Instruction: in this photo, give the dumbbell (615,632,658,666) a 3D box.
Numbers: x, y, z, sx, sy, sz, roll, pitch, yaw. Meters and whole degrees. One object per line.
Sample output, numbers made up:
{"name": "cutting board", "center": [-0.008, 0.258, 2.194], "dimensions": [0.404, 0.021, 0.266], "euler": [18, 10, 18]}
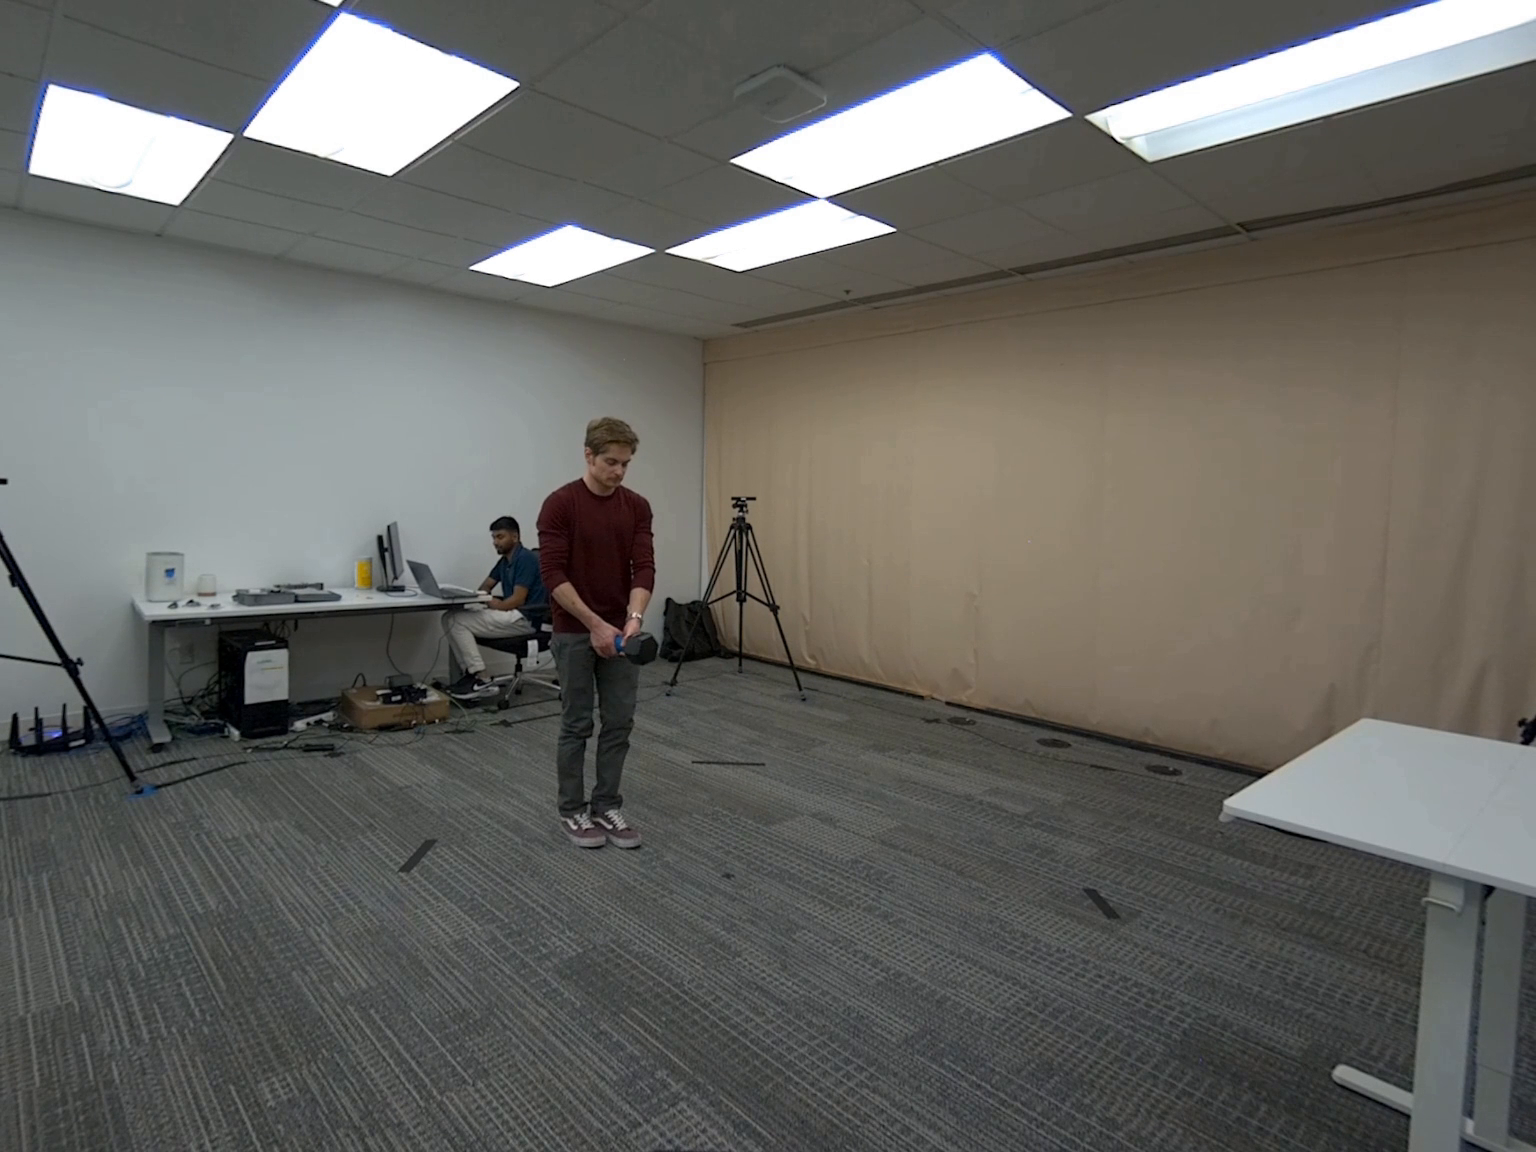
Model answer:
{"name": "dumbbell", "center": [-0.553, 0.261, 3.154], "dimensions": [0.301, 0.119, 0.109], "euler": [4, 47, 43]}
